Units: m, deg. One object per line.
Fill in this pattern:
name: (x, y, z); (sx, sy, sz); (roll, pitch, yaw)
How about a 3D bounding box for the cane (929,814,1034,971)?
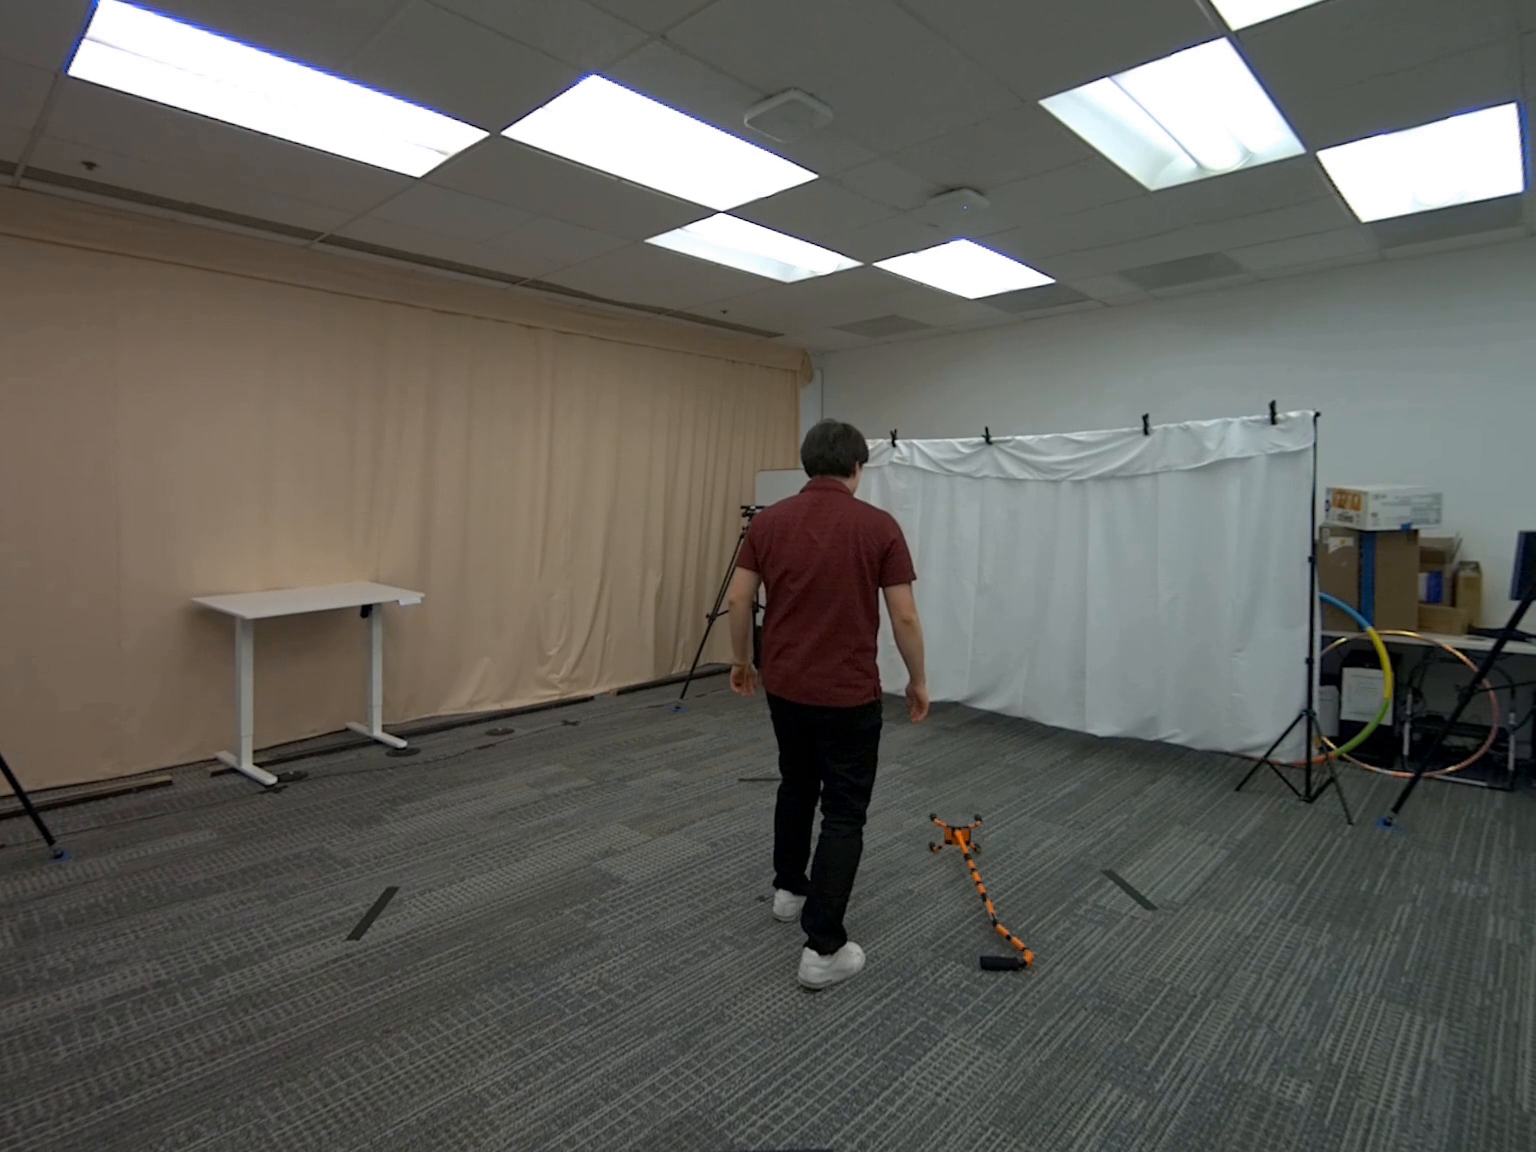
cane: (0.751, 1.100, 2.957); (0.207, 0.151, 0.910); (-1, 9, 1)
